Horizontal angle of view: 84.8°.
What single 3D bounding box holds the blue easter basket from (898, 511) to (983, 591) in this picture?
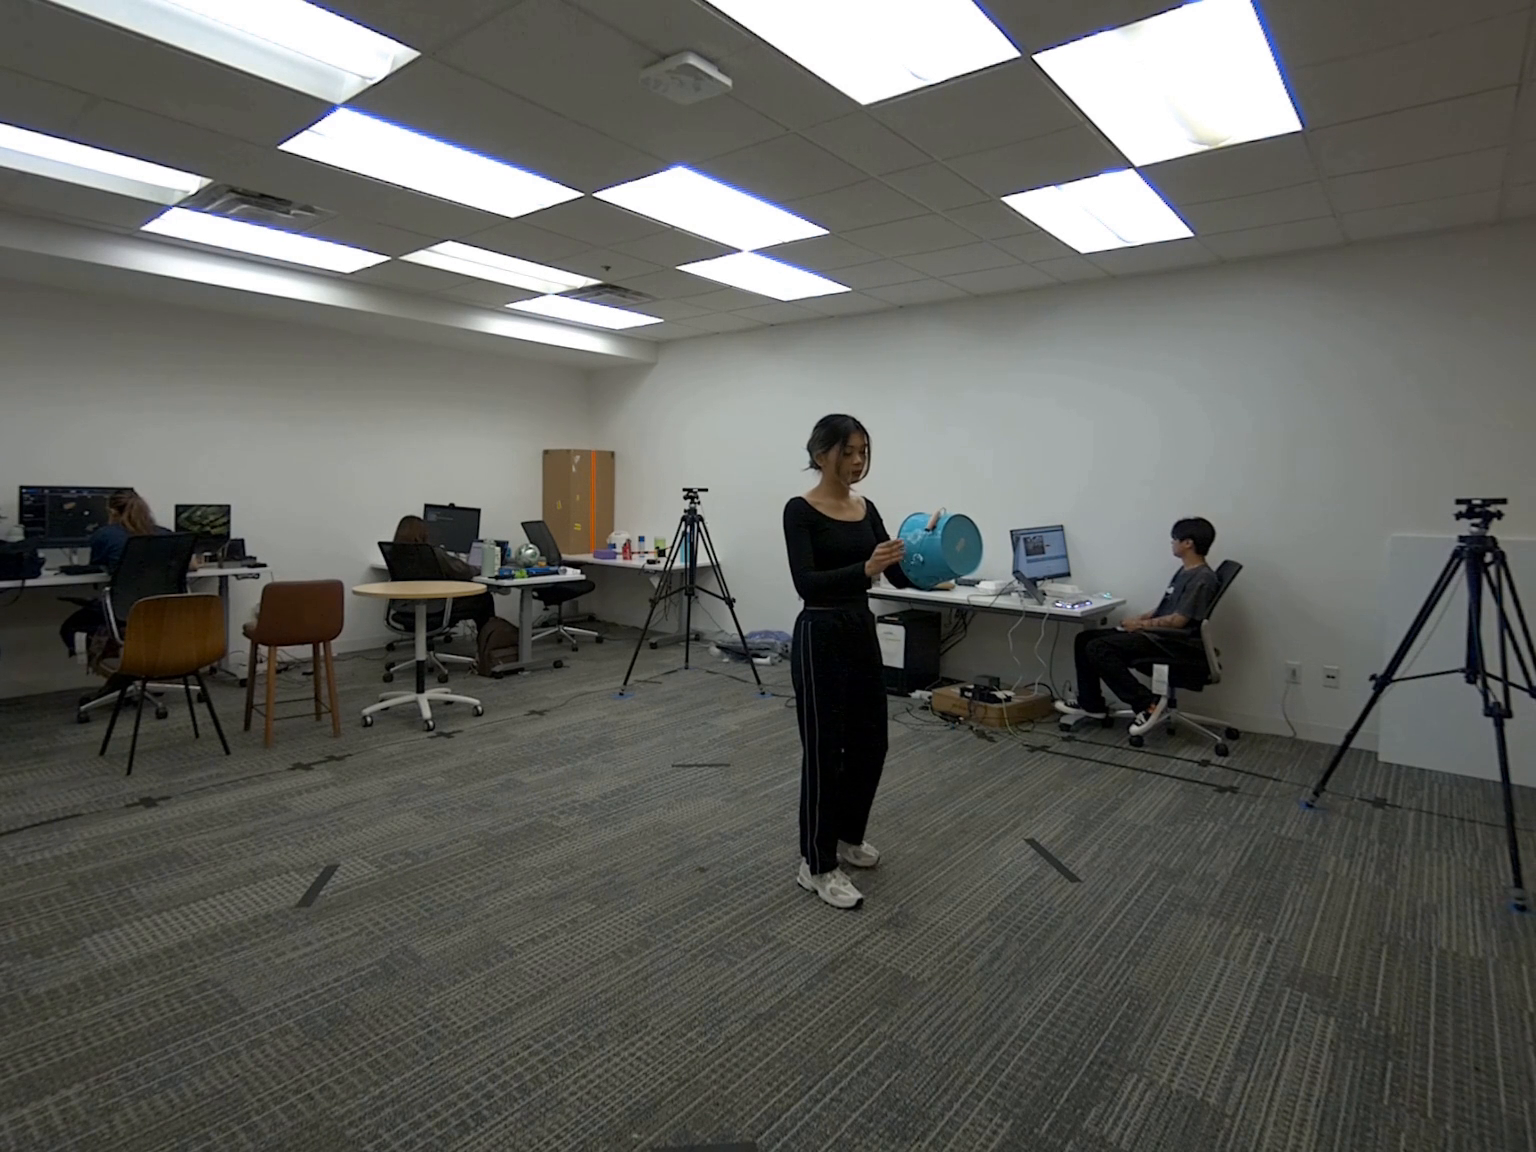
[{"bbox_3d":[0.516,-0.090,2.546,0.236,0.245,0.159,-2,-5,-35],"label":"blue easter basket"}]
